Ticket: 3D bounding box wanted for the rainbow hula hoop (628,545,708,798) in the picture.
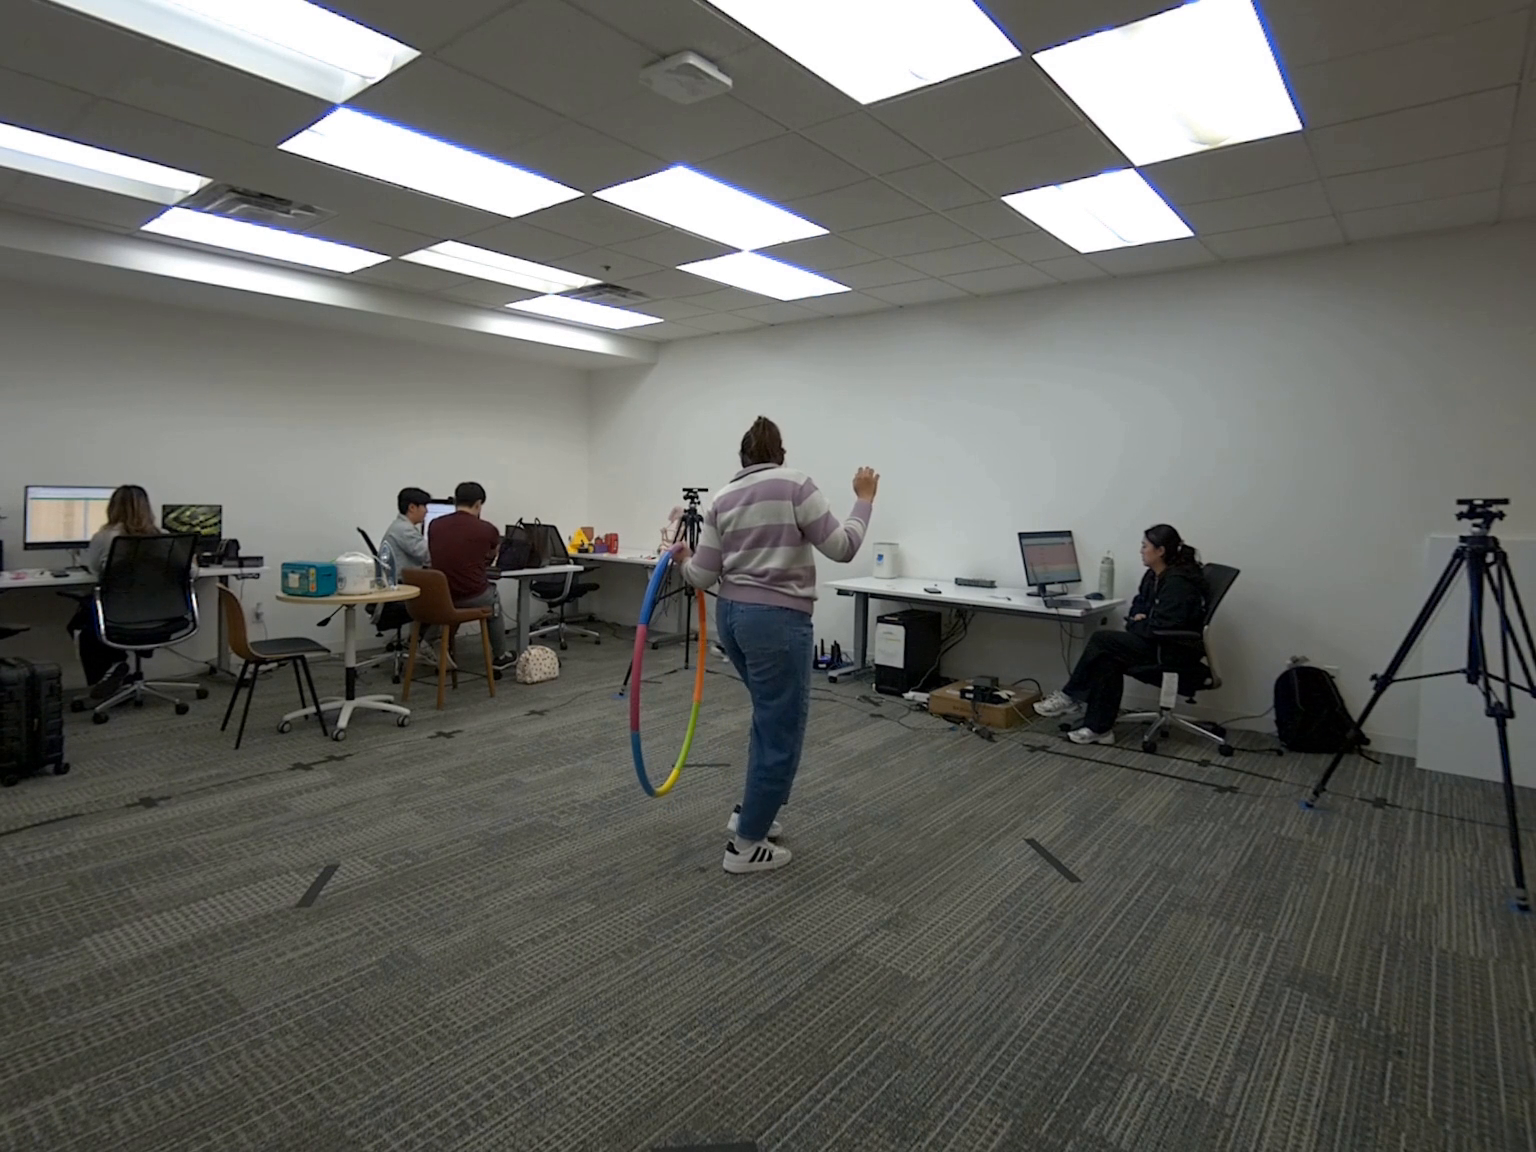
[{"bbox_3d":[-0.387,0.368,3.384,0.052,0.982,0.976,2,4,10],"label":"rainbow hula hoop"}]
